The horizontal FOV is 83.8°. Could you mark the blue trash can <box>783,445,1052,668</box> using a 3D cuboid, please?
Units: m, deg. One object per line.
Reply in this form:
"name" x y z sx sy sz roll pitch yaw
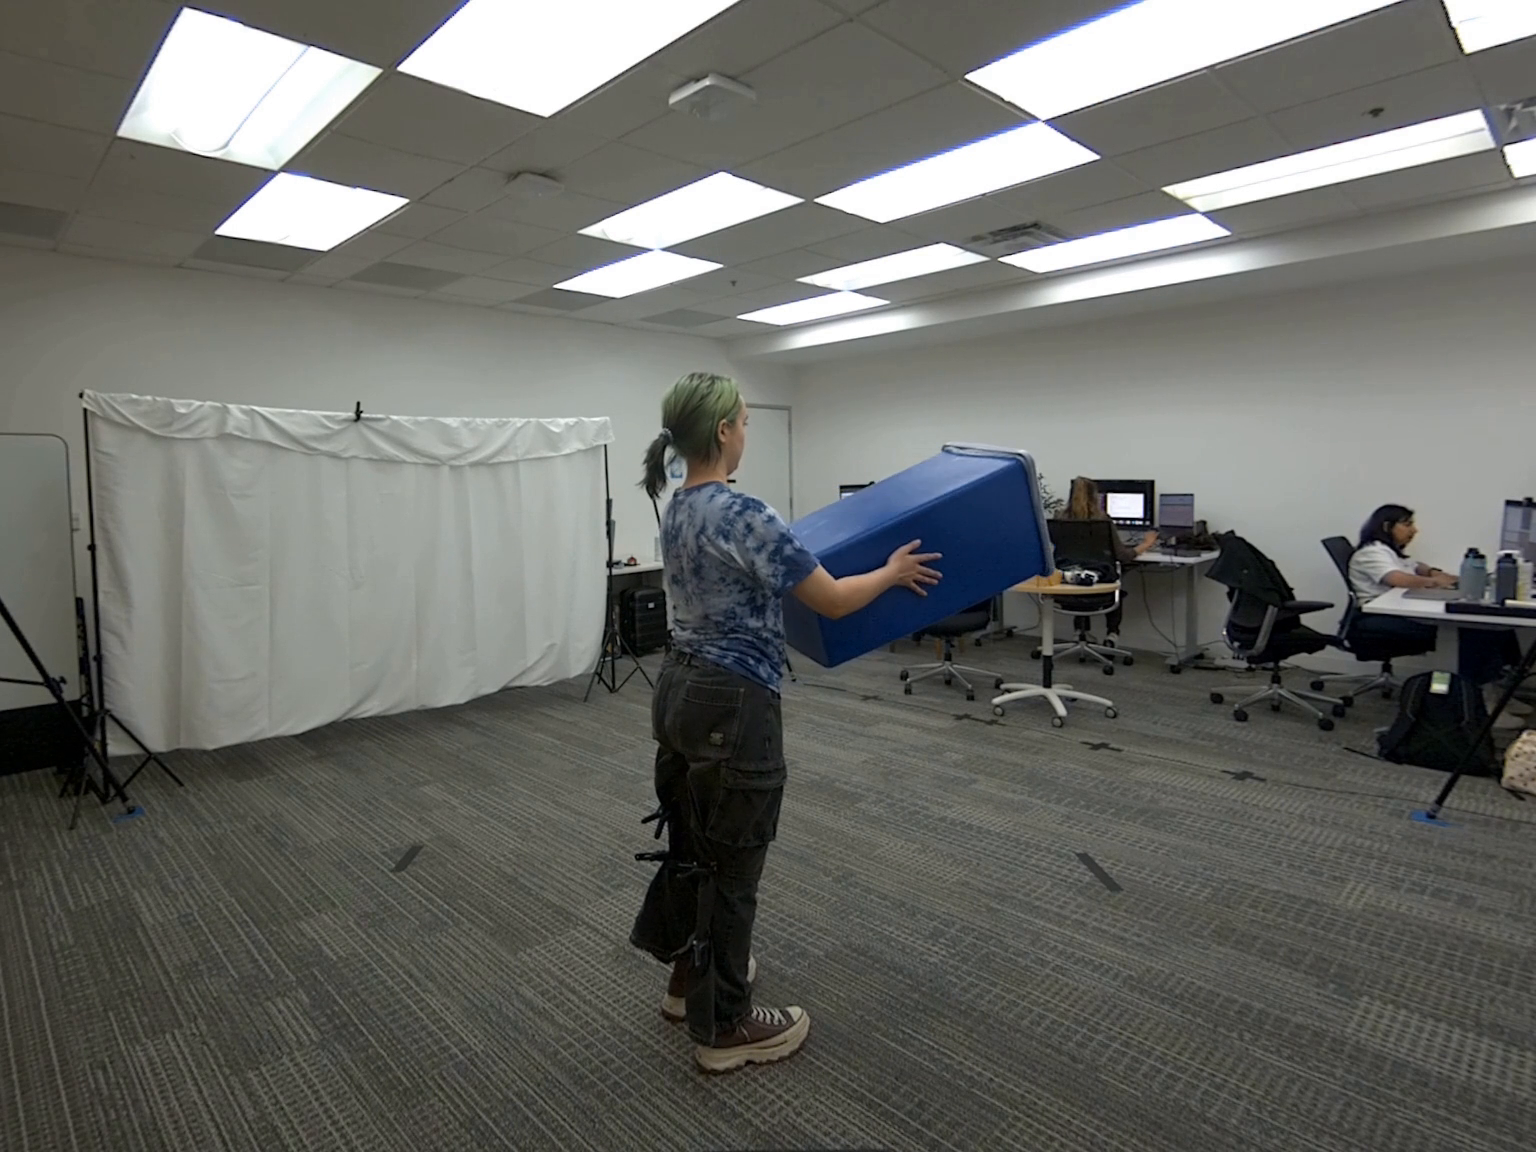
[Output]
"blue trash can" 0.366 -0.066 2.330 0.706 0.366 0.390 -24 20 -19
